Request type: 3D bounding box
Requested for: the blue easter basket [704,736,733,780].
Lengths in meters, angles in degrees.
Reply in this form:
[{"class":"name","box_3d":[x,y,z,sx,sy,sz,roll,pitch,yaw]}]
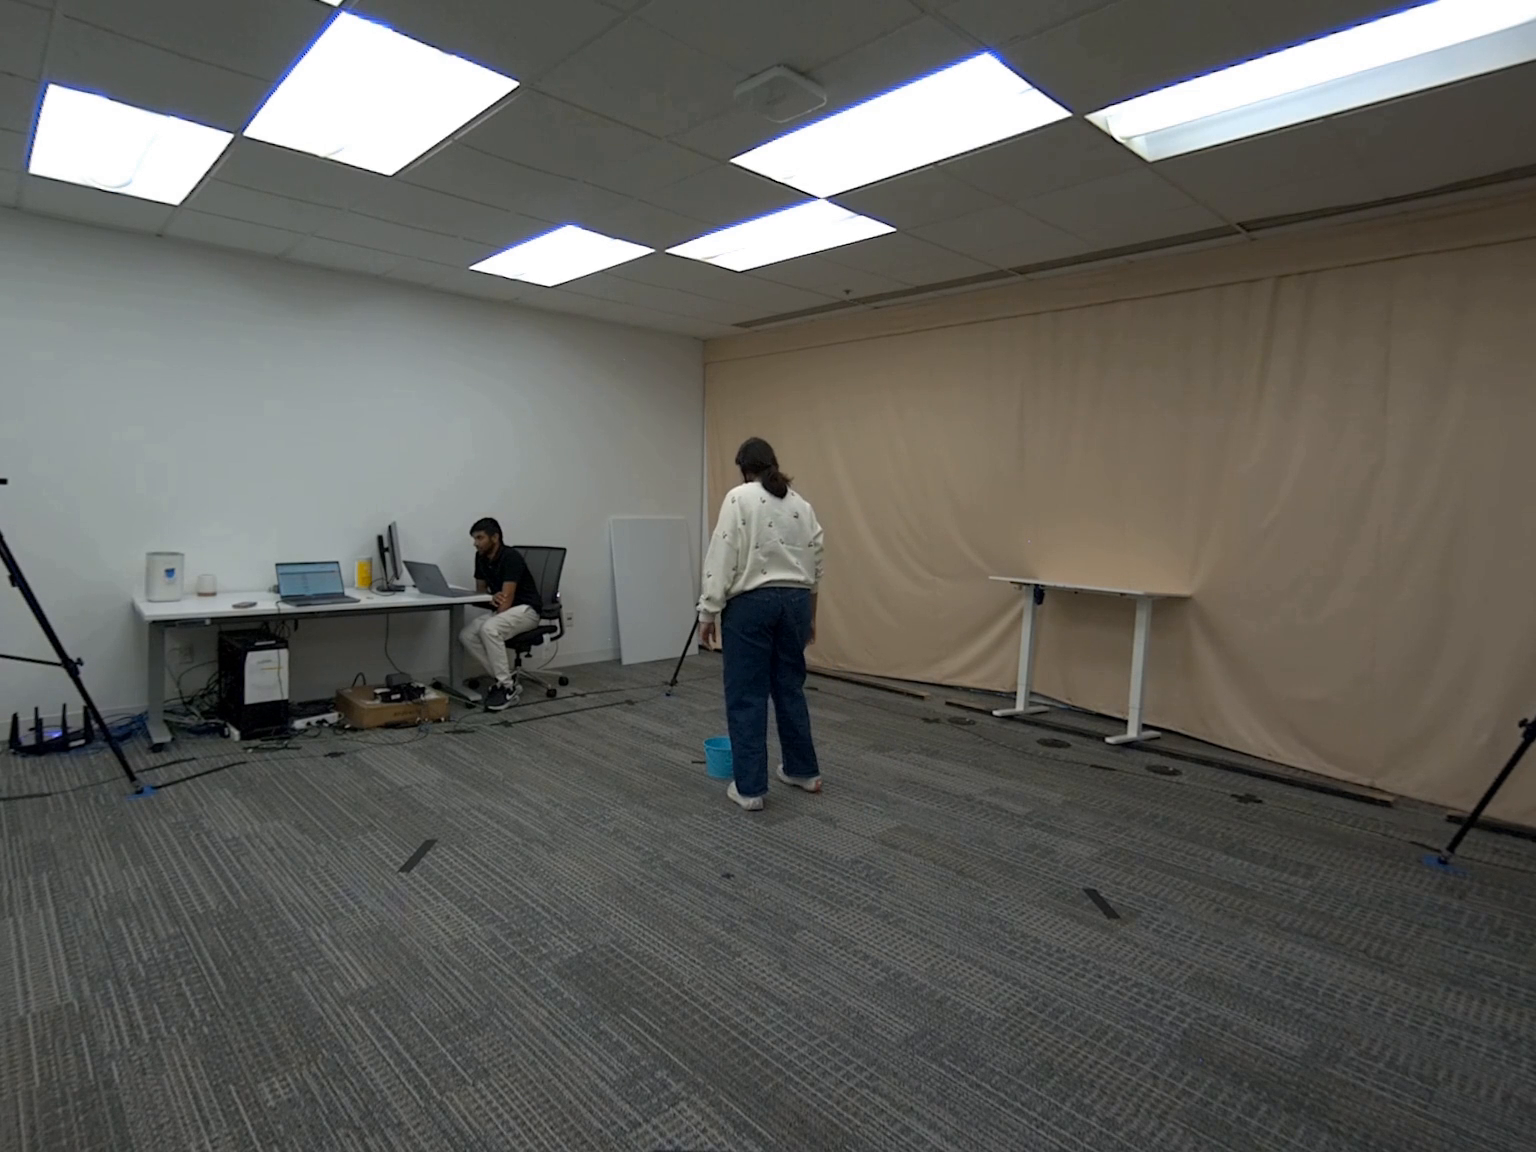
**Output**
[{"class":"blue easter basket","box_3d":[-0.230,0.920,4.292,0.243,0.155,0.244,1,5,-1]}]
